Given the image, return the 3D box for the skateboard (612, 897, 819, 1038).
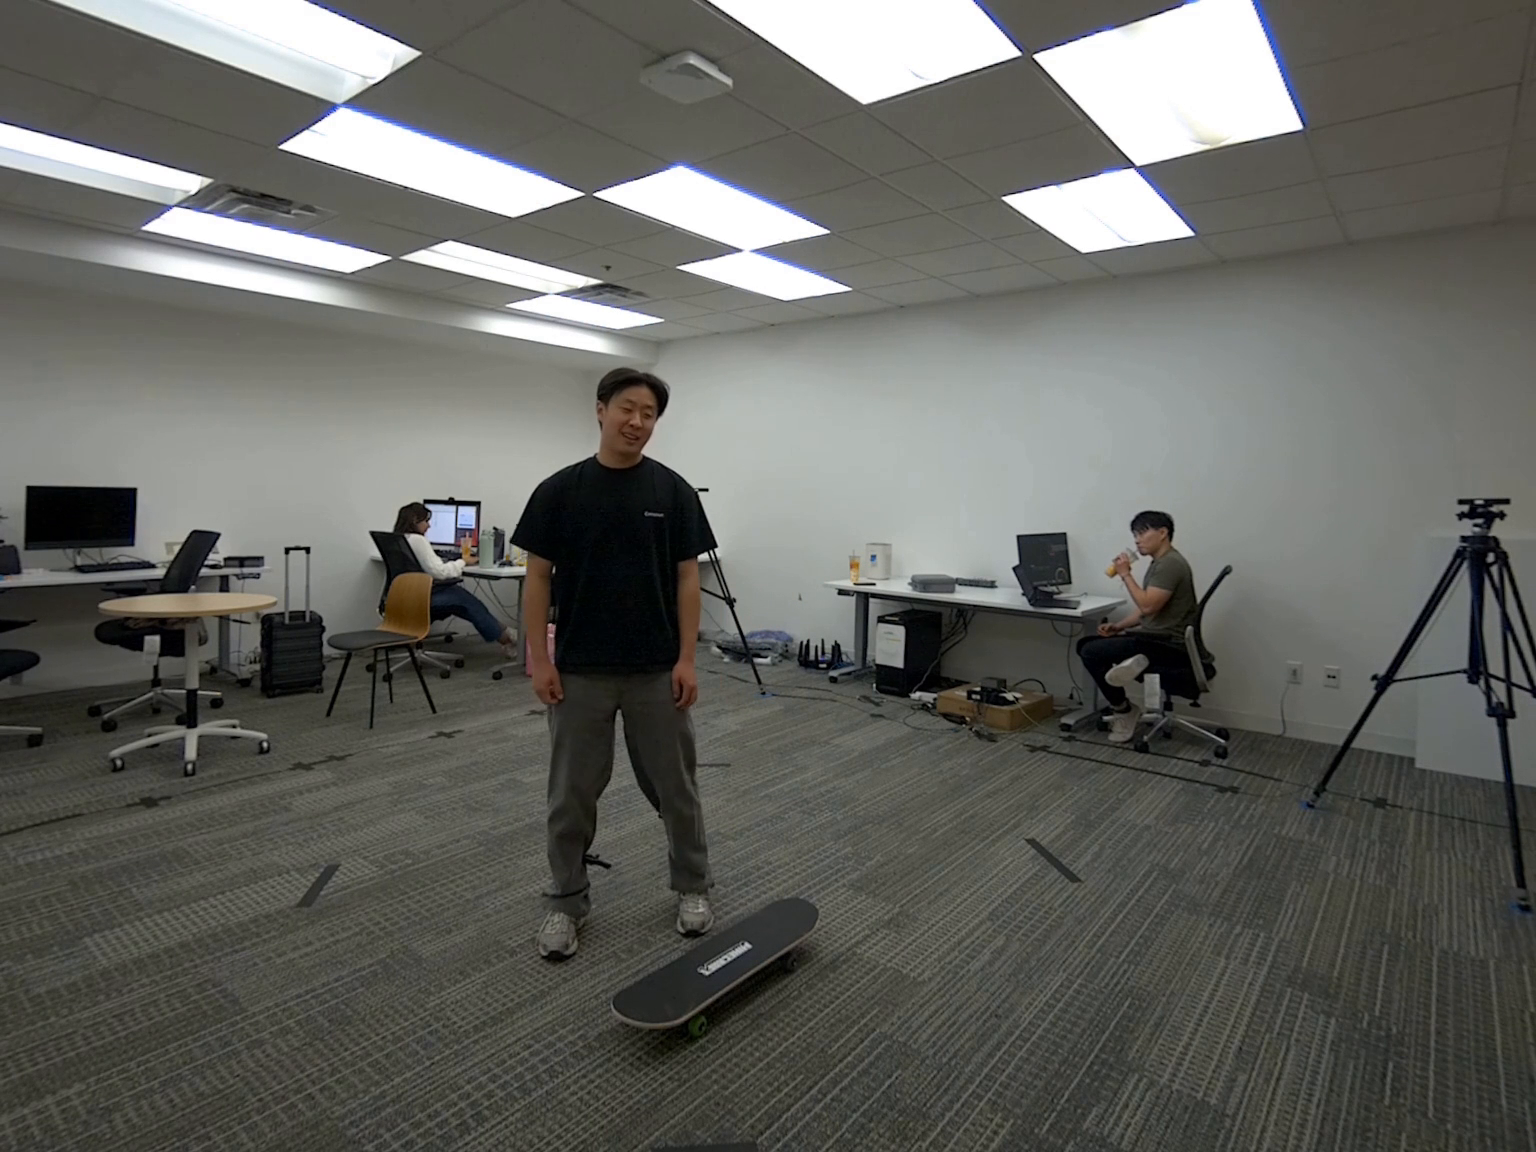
[{"bbox_3d":[-0.123,1.093,2.358,0.200,0.110,0.763,6,8,39],"label":"skateboard"}]
